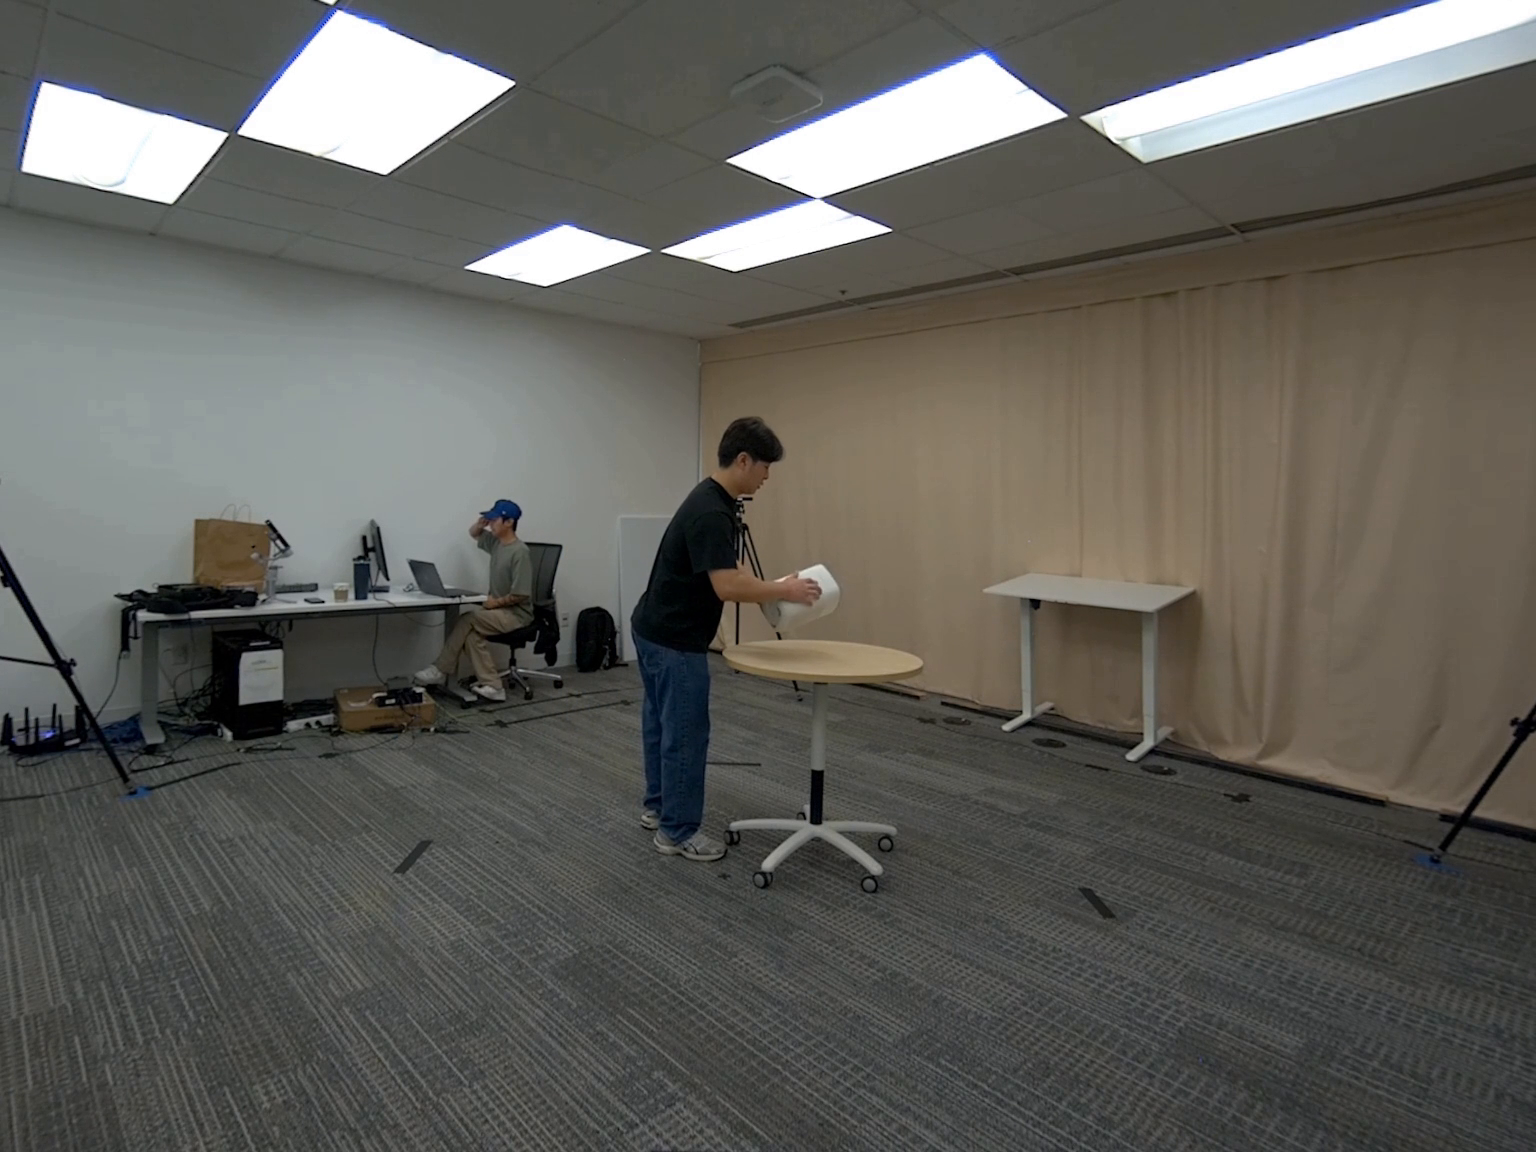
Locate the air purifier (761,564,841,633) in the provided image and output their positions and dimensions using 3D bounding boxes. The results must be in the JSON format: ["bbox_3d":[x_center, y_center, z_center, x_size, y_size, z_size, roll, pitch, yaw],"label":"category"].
[{"bbox_3d":[0.116,0.086,3.243,0.262,0.175,0.169,-22,-29,-23],"label":"air purifier"}]
